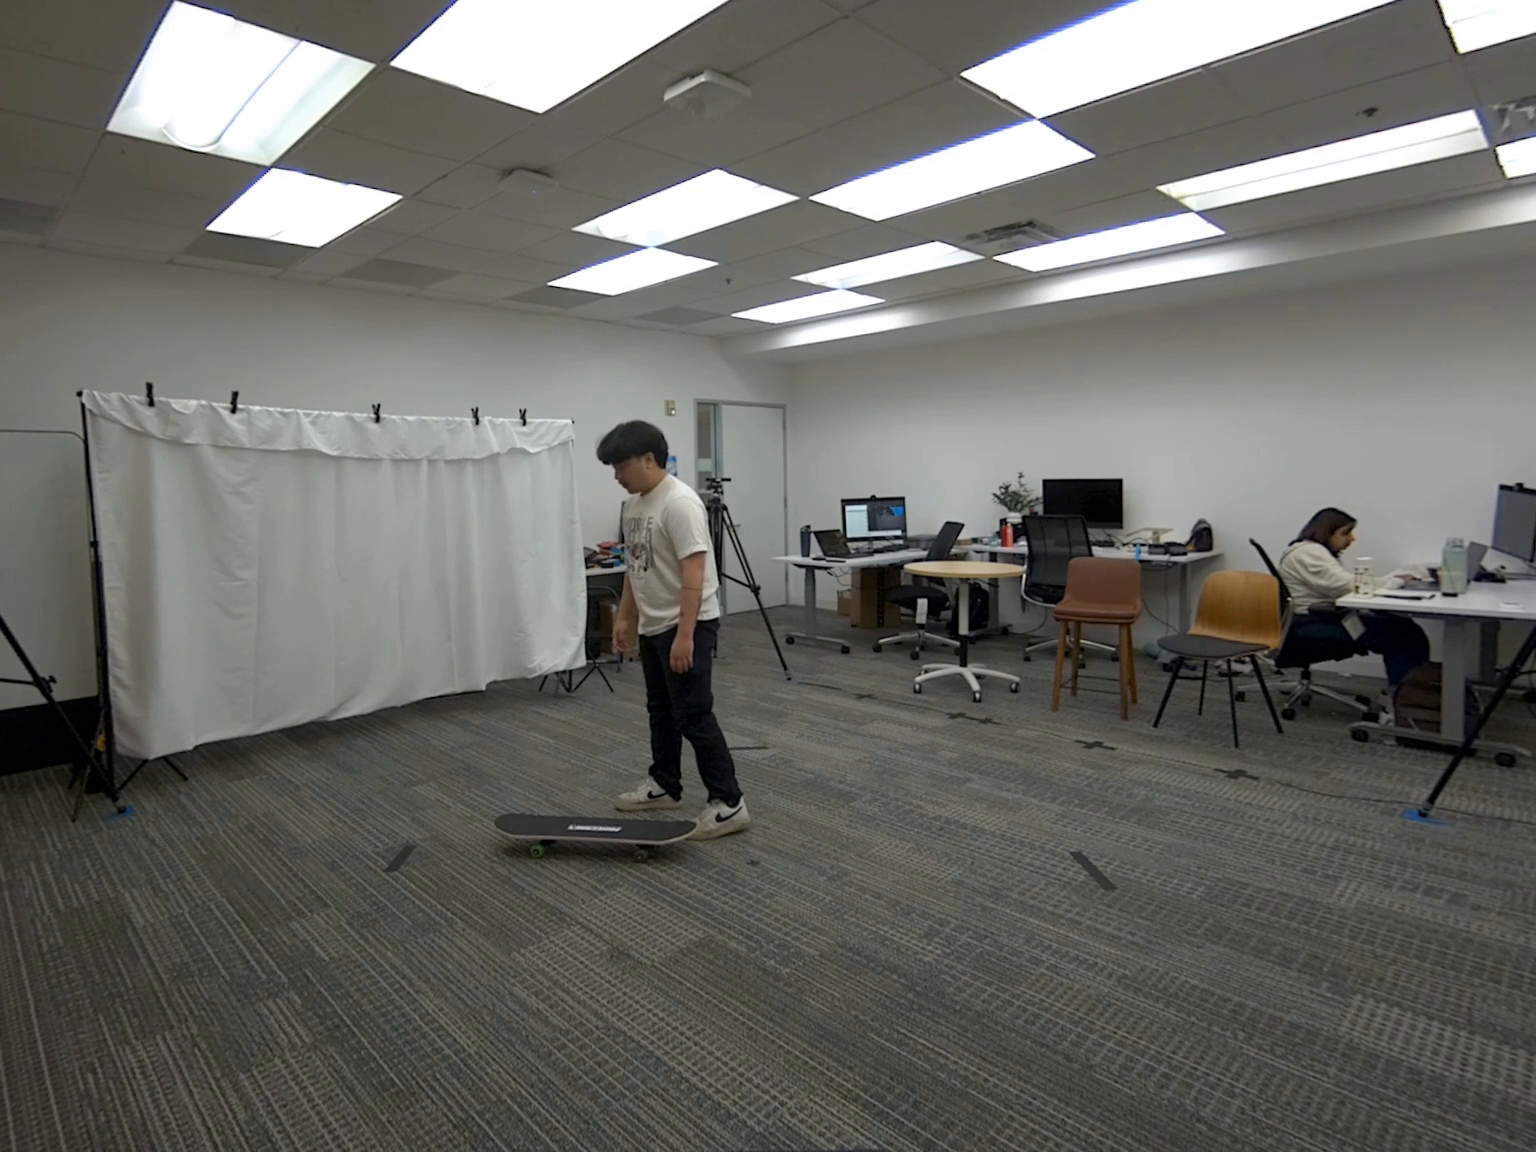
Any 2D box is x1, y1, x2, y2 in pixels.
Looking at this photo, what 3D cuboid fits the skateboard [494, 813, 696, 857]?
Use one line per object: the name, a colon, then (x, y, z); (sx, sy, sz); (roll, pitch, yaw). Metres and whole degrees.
skateboard: (-0.655, 0.987, 3.229); (0.792, 0.110, 0.192); (0, 5, 9)
